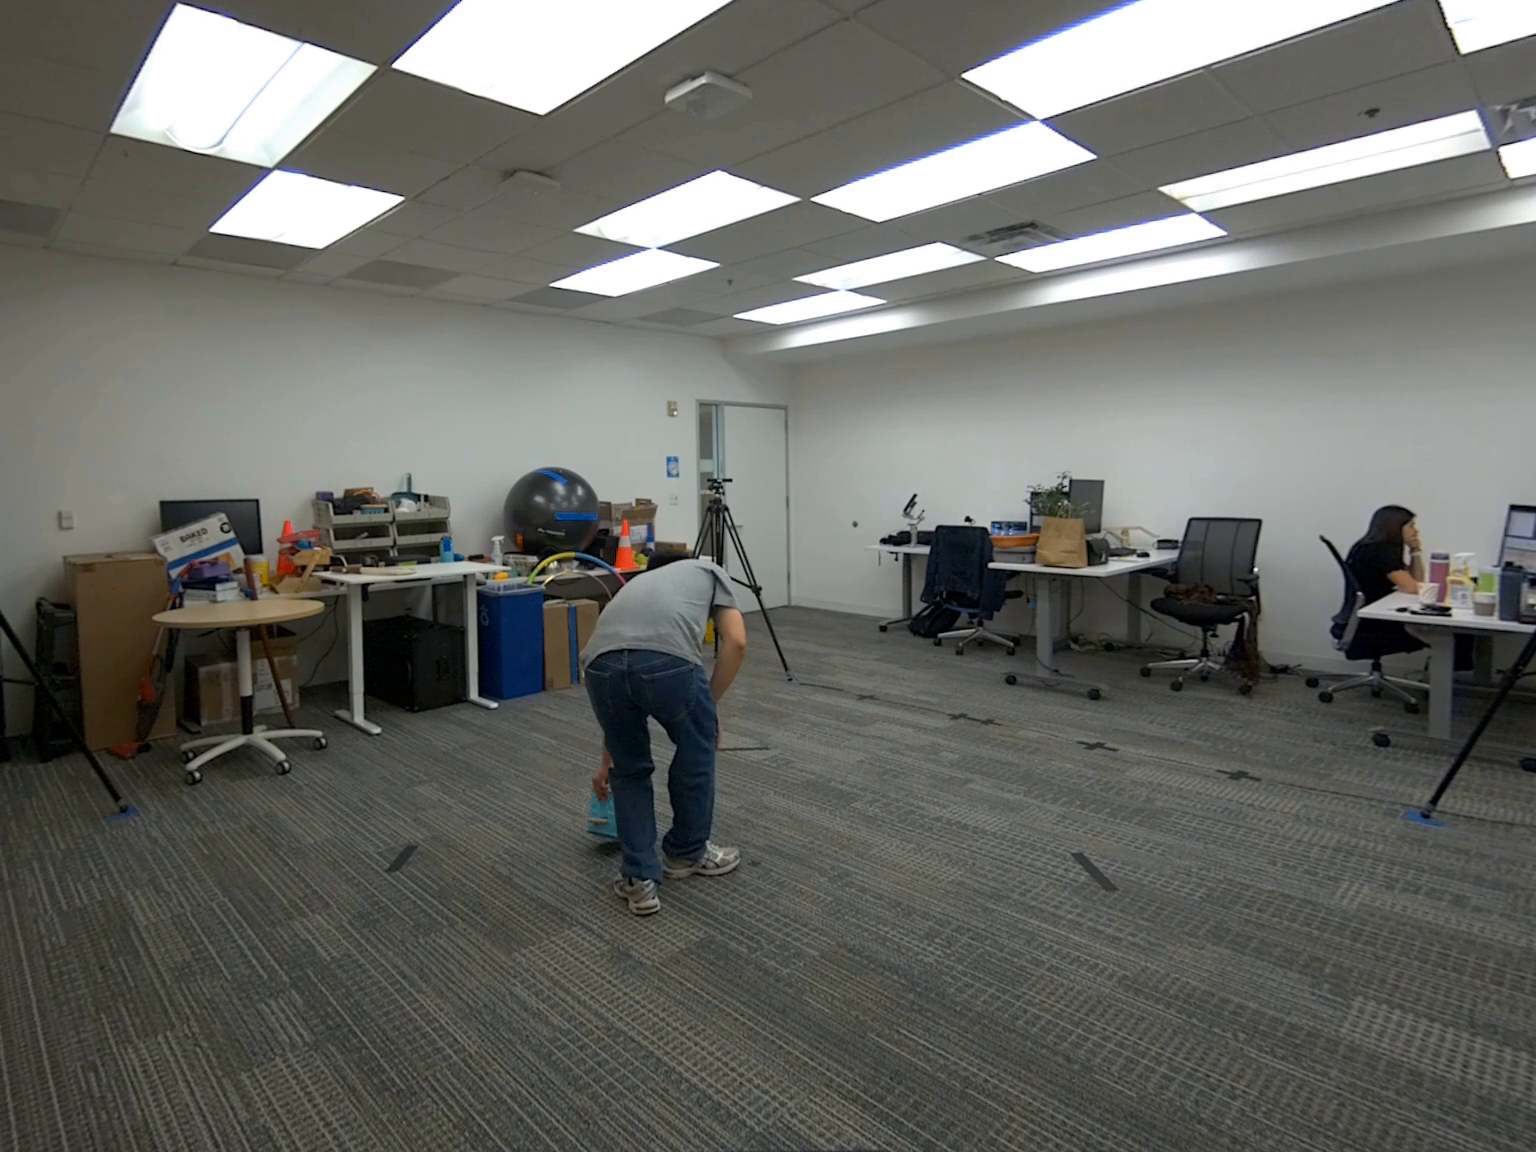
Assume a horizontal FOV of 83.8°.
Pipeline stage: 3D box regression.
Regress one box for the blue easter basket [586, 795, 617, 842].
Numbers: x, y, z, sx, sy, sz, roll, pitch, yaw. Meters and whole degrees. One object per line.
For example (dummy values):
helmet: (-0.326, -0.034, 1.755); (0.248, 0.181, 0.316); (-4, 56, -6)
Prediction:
blue easter basket: (-0.583, 0.925, 3.277); (0.245, 0.158, 0.239); (13, -24, 4)
